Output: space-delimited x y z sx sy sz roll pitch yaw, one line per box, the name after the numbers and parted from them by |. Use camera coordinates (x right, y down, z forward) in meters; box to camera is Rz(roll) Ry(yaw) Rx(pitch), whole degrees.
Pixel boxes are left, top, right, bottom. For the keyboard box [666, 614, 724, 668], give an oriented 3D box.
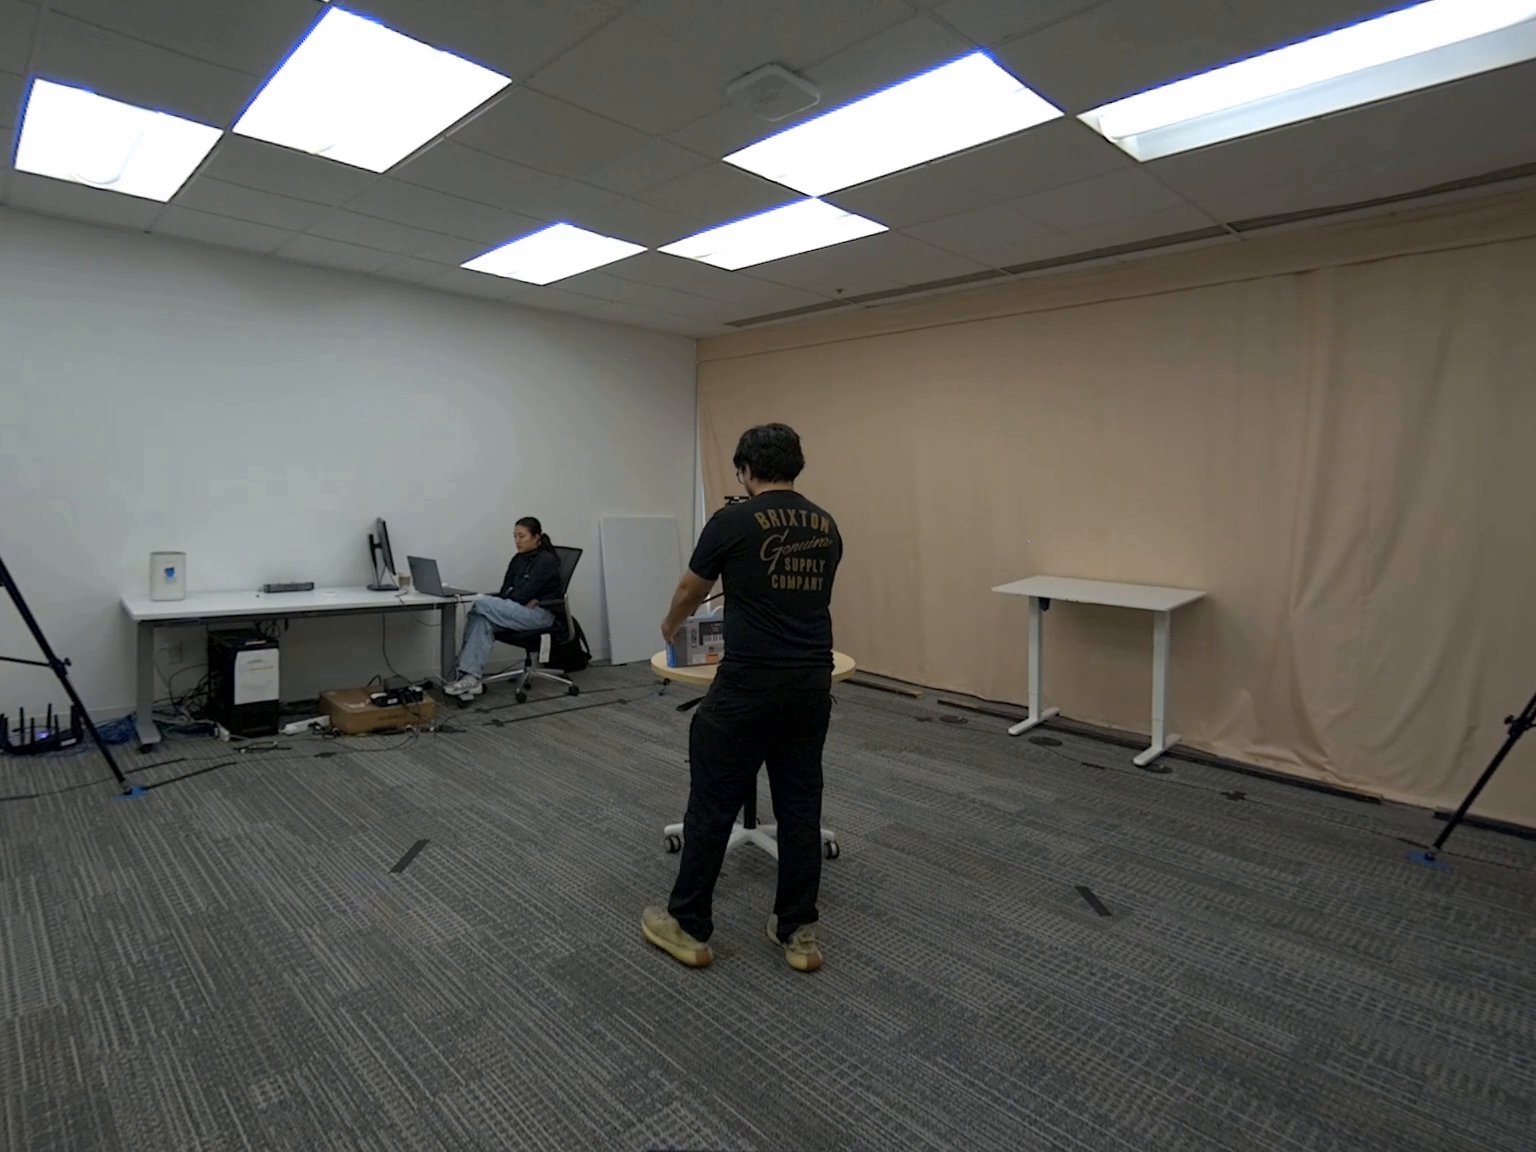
-0.168 0.236 3.112 0.428 0.176 0.060 -2 2 -28 | keyboard box
